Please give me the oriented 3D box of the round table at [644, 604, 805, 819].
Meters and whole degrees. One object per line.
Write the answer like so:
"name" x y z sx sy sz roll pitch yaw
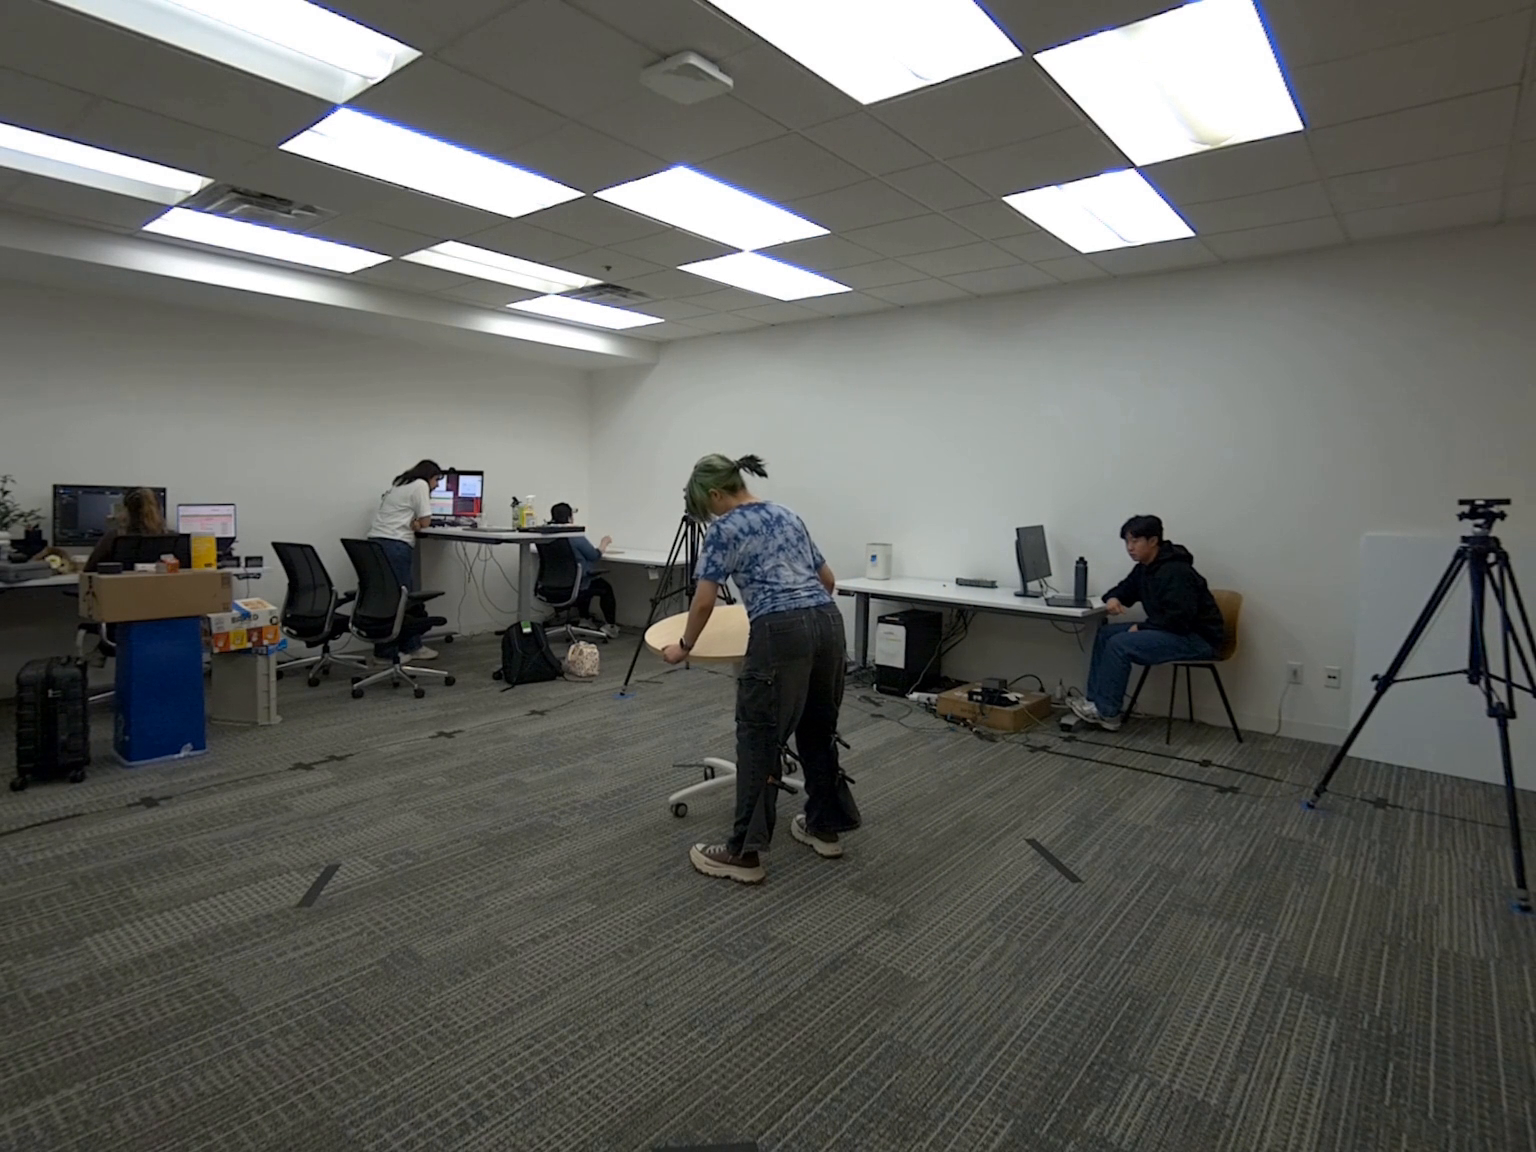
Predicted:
"round table" -0.125 0.598 3.631 0.764 0.786 0.772 -4 10 -1
